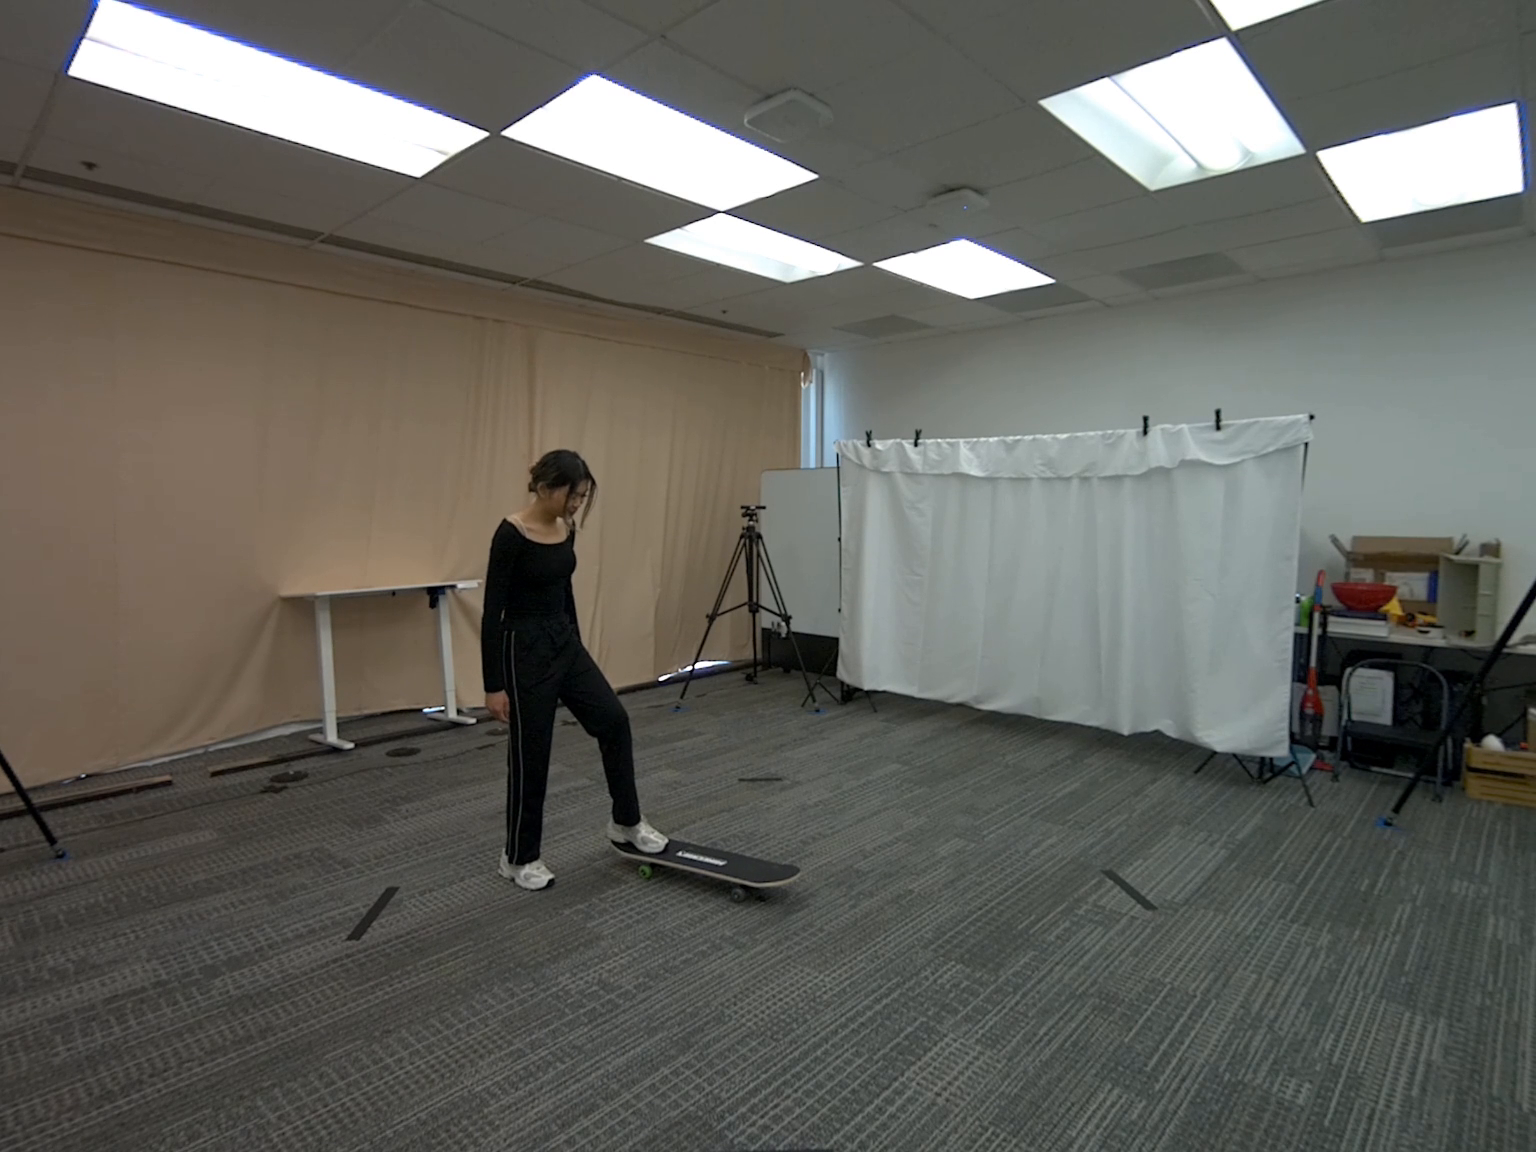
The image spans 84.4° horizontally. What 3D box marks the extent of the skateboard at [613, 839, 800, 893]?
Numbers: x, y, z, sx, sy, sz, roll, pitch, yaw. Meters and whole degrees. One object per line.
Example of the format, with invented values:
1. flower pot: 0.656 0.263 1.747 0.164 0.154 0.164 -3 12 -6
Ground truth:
1. skateboard: -0.245 1.079 3.124 0.807 0.110 0.189 1 4 28
